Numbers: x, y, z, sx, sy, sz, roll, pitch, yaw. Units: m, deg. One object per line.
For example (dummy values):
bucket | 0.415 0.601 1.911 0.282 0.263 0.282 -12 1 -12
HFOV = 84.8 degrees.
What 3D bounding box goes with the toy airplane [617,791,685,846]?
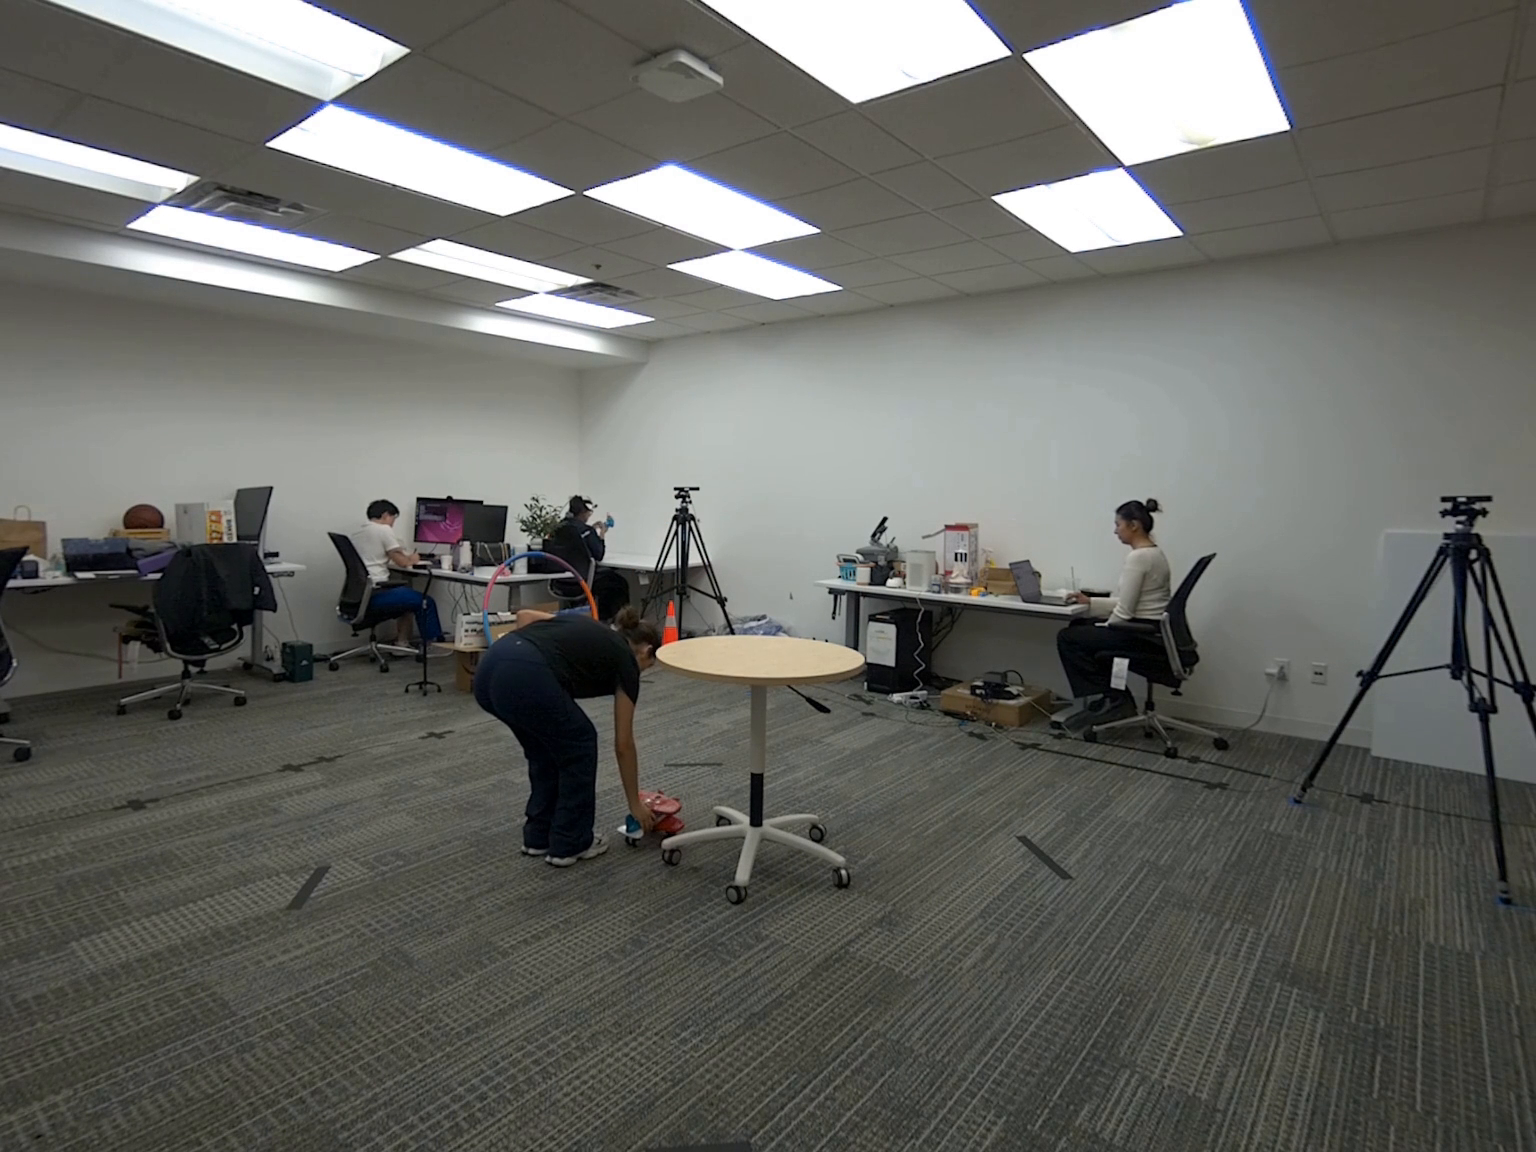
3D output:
toy airplane | -0.442 0.966 3.376 0.254 0.156 0.257 2 4 10
